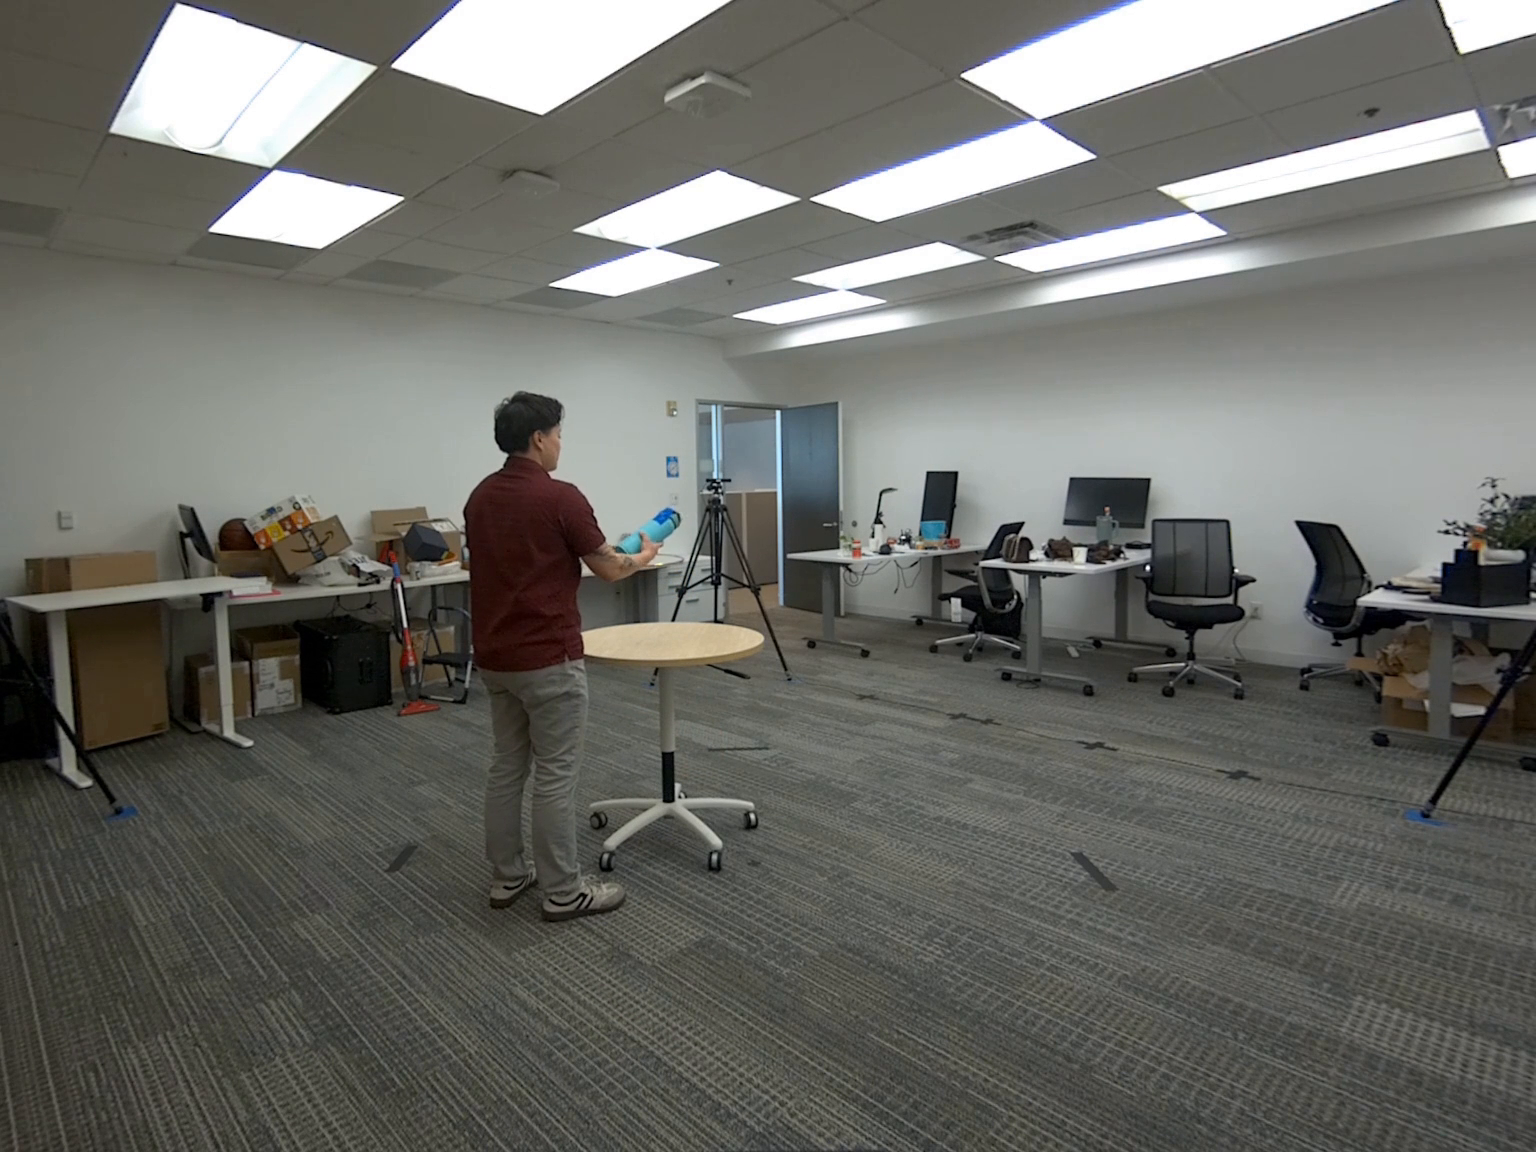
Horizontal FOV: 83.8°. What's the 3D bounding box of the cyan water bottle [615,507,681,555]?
[{"bbox_3d":[-0.431,-0.147,3.160,0.282,0.090,0.095,-42,28,-30],"label":"cyan water bottle"}]
